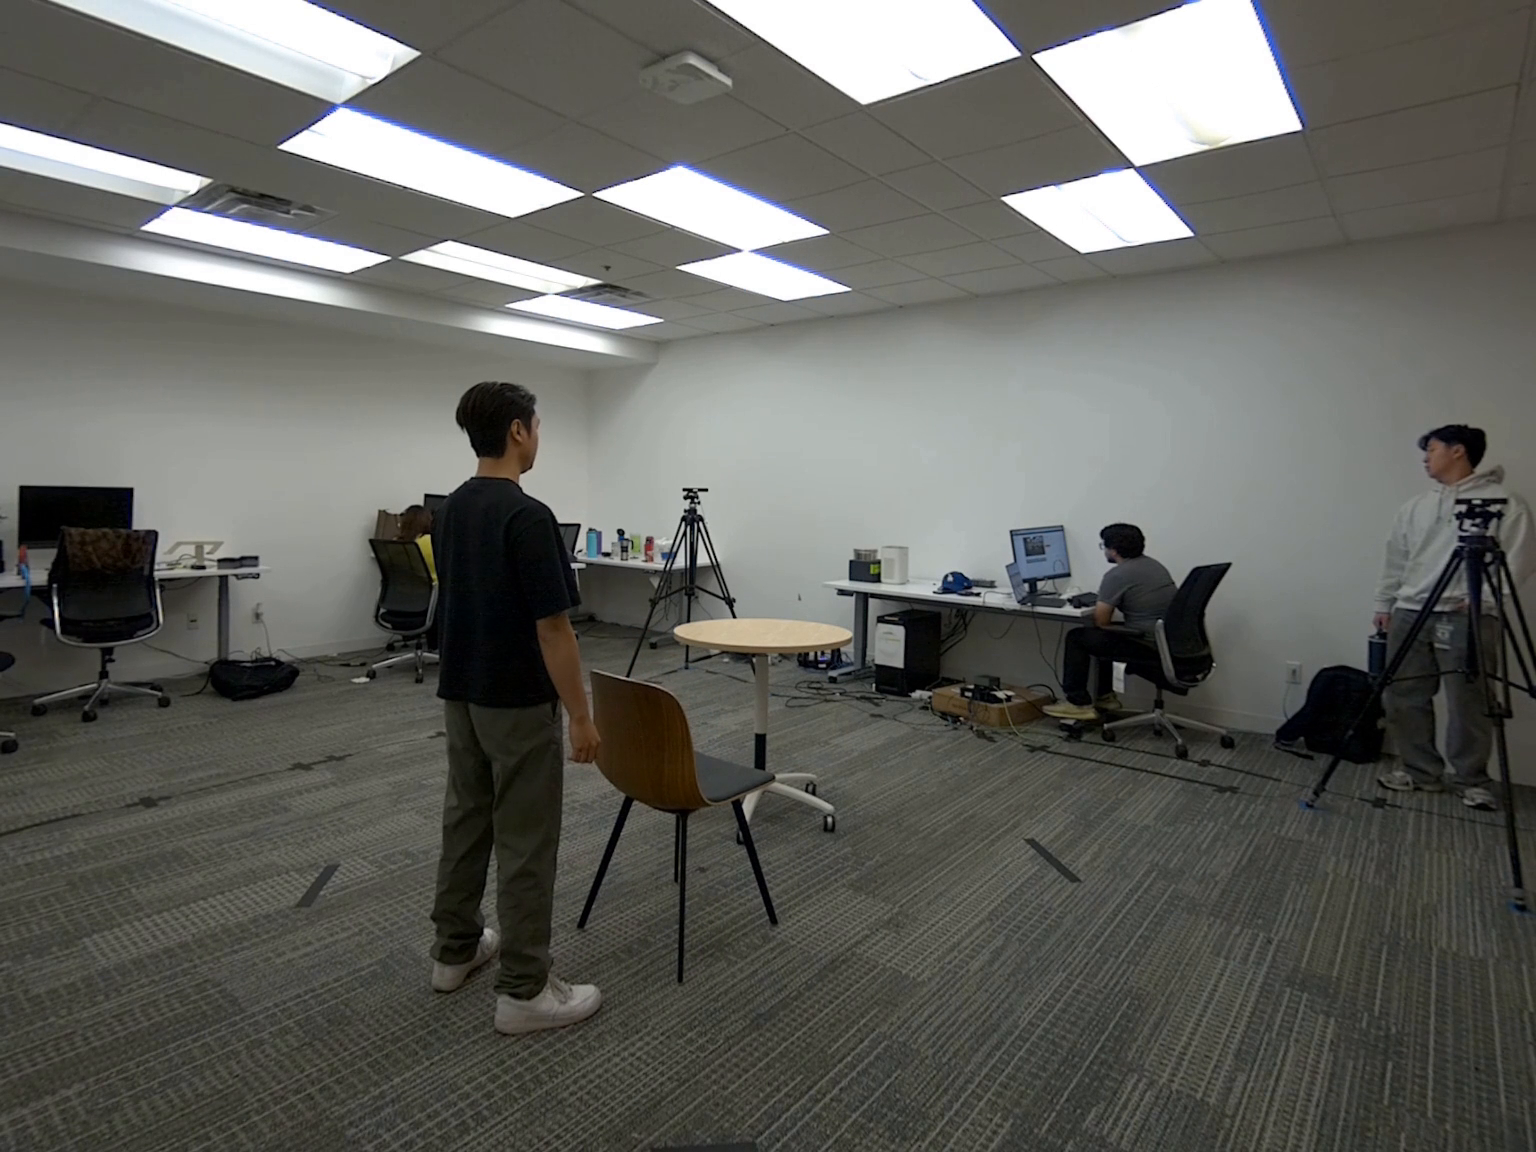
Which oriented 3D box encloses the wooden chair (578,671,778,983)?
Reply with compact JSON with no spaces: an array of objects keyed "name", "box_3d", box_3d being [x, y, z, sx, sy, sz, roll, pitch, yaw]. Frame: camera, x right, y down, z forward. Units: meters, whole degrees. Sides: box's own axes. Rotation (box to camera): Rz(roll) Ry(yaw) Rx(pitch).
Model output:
[{"name":"wooden chair","box_3d":[-0.281,0.684,2.684,0.494,0.872,0.509,3,8,39]}]
